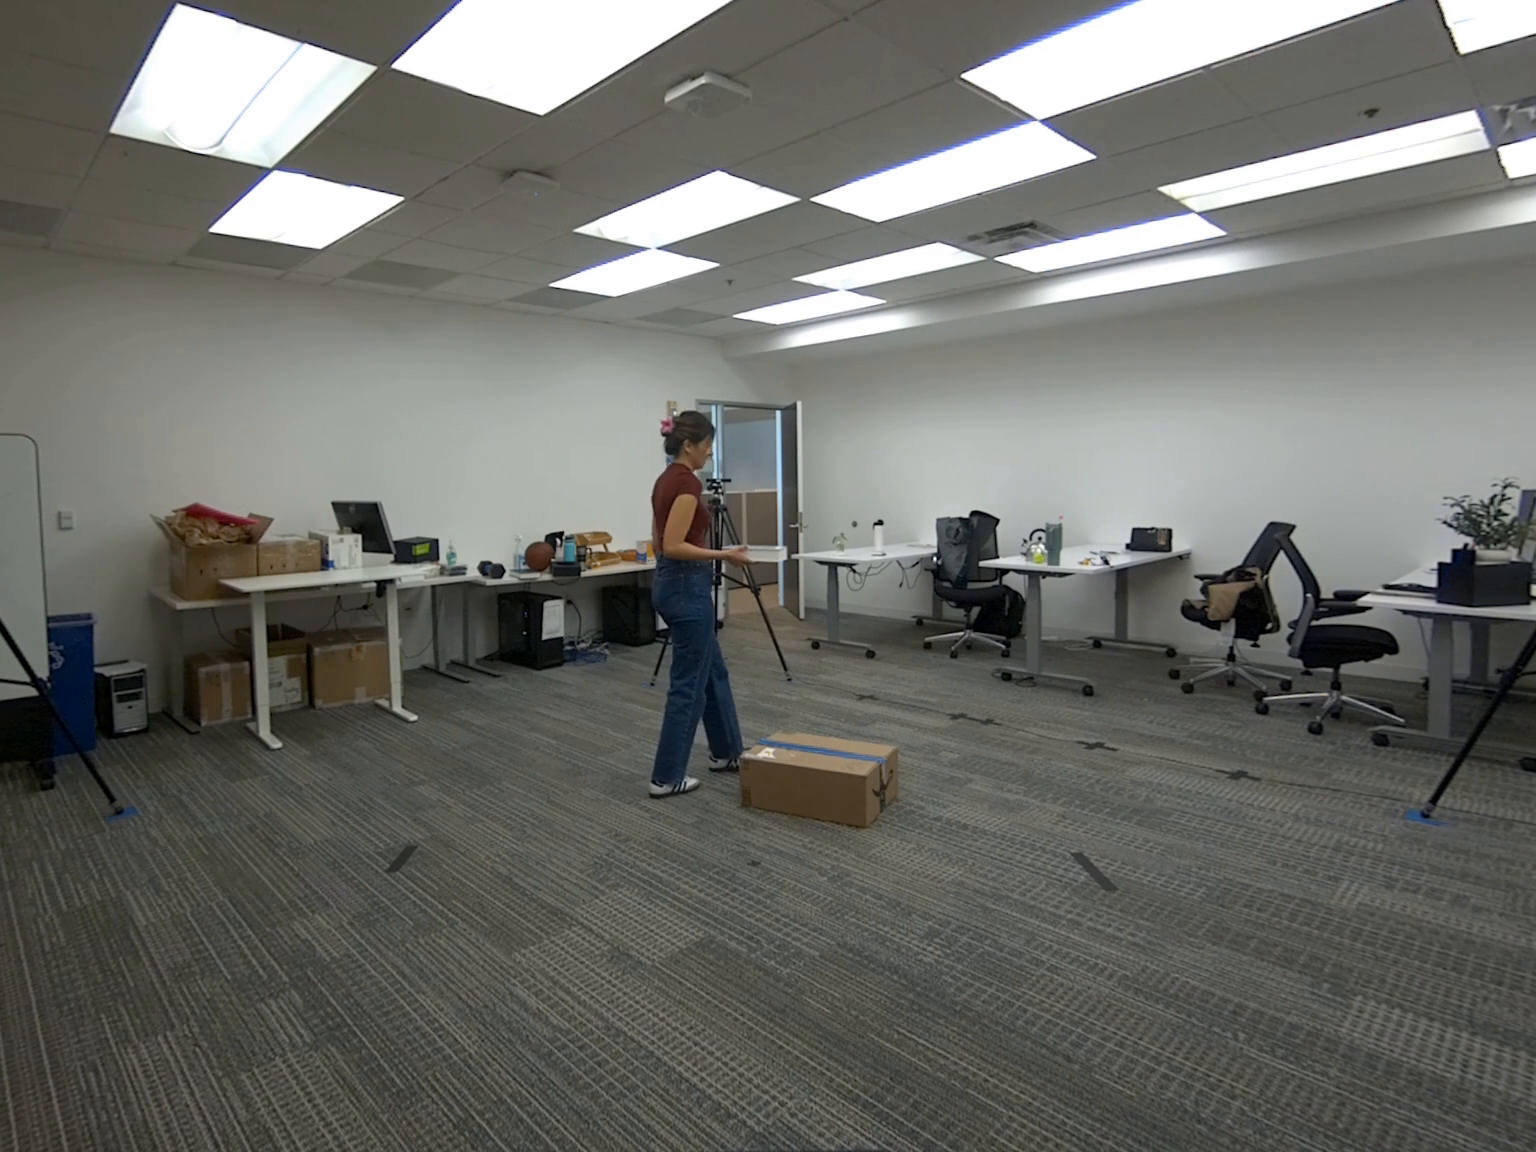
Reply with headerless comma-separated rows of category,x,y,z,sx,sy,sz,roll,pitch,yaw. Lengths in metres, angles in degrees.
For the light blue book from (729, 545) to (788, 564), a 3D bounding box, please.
light blue book,-0.064,-0.104,3.843,0.264,0.059,0.189,1,5,13
